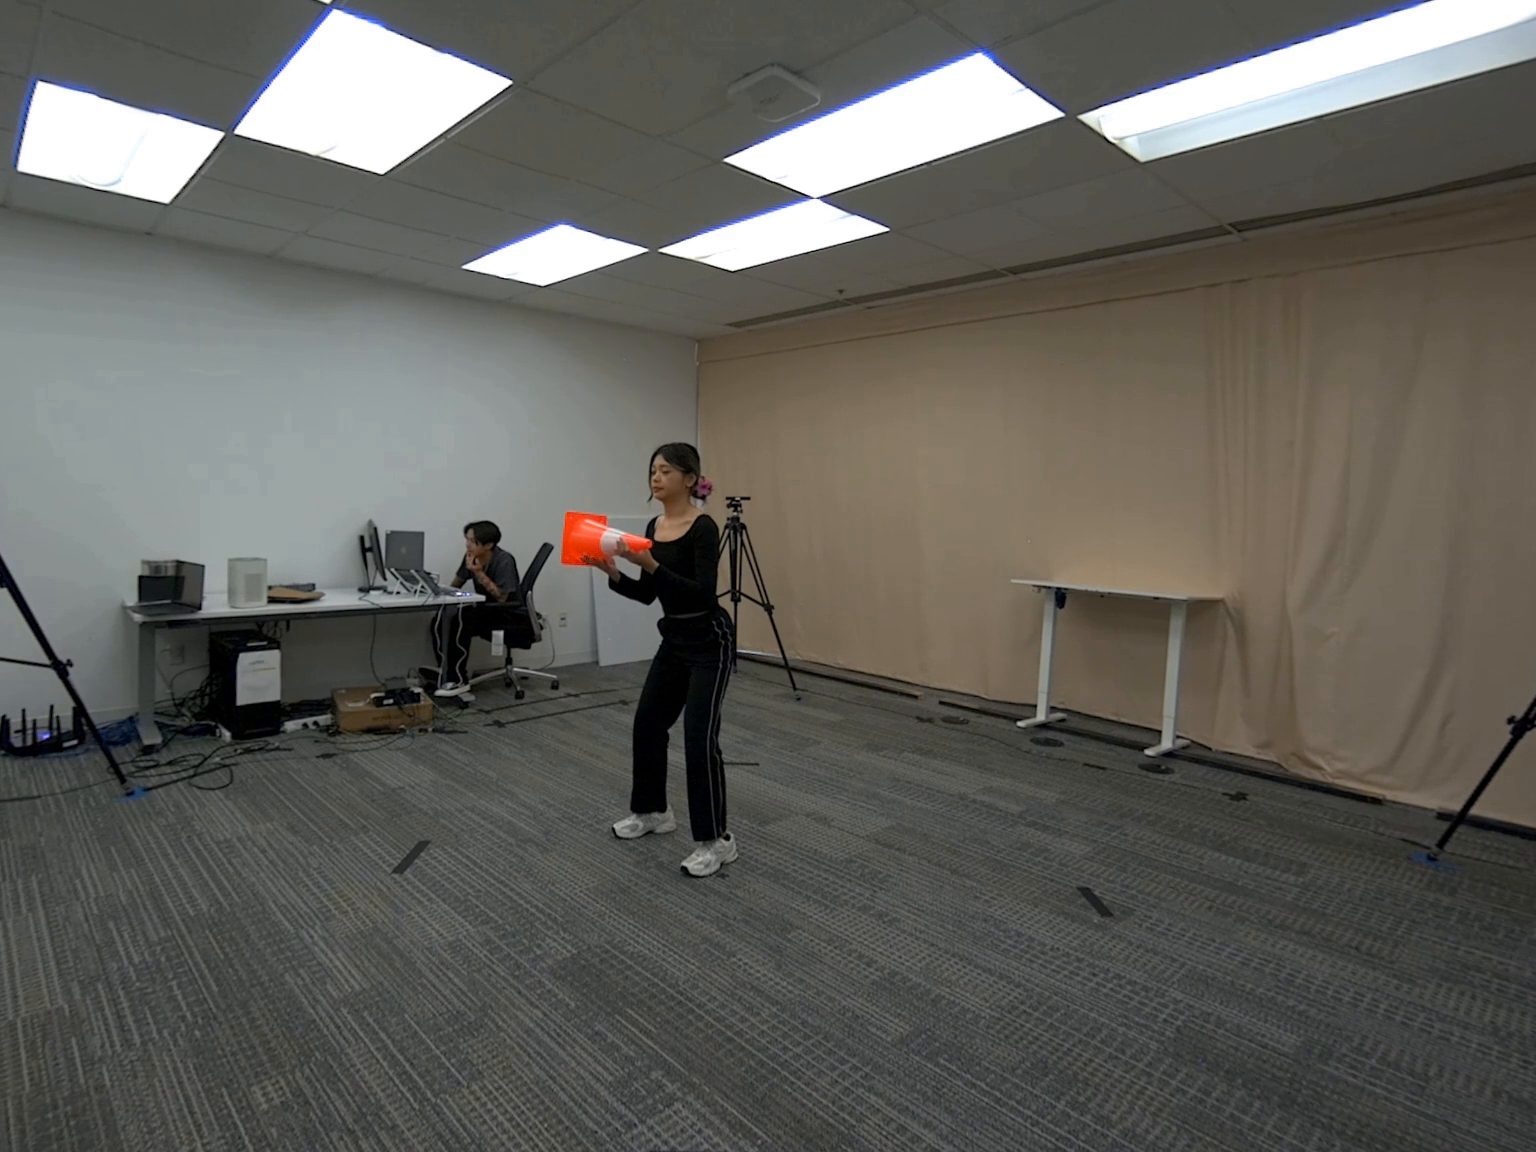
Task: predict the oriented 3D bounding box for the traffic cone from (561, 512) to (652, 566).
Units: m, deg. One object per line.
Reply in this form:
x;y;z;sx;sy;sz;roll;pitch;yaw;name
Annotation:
-0.553;-0.121;3.031;0.393;0.205;0.198;5;0;43;traffic cone
